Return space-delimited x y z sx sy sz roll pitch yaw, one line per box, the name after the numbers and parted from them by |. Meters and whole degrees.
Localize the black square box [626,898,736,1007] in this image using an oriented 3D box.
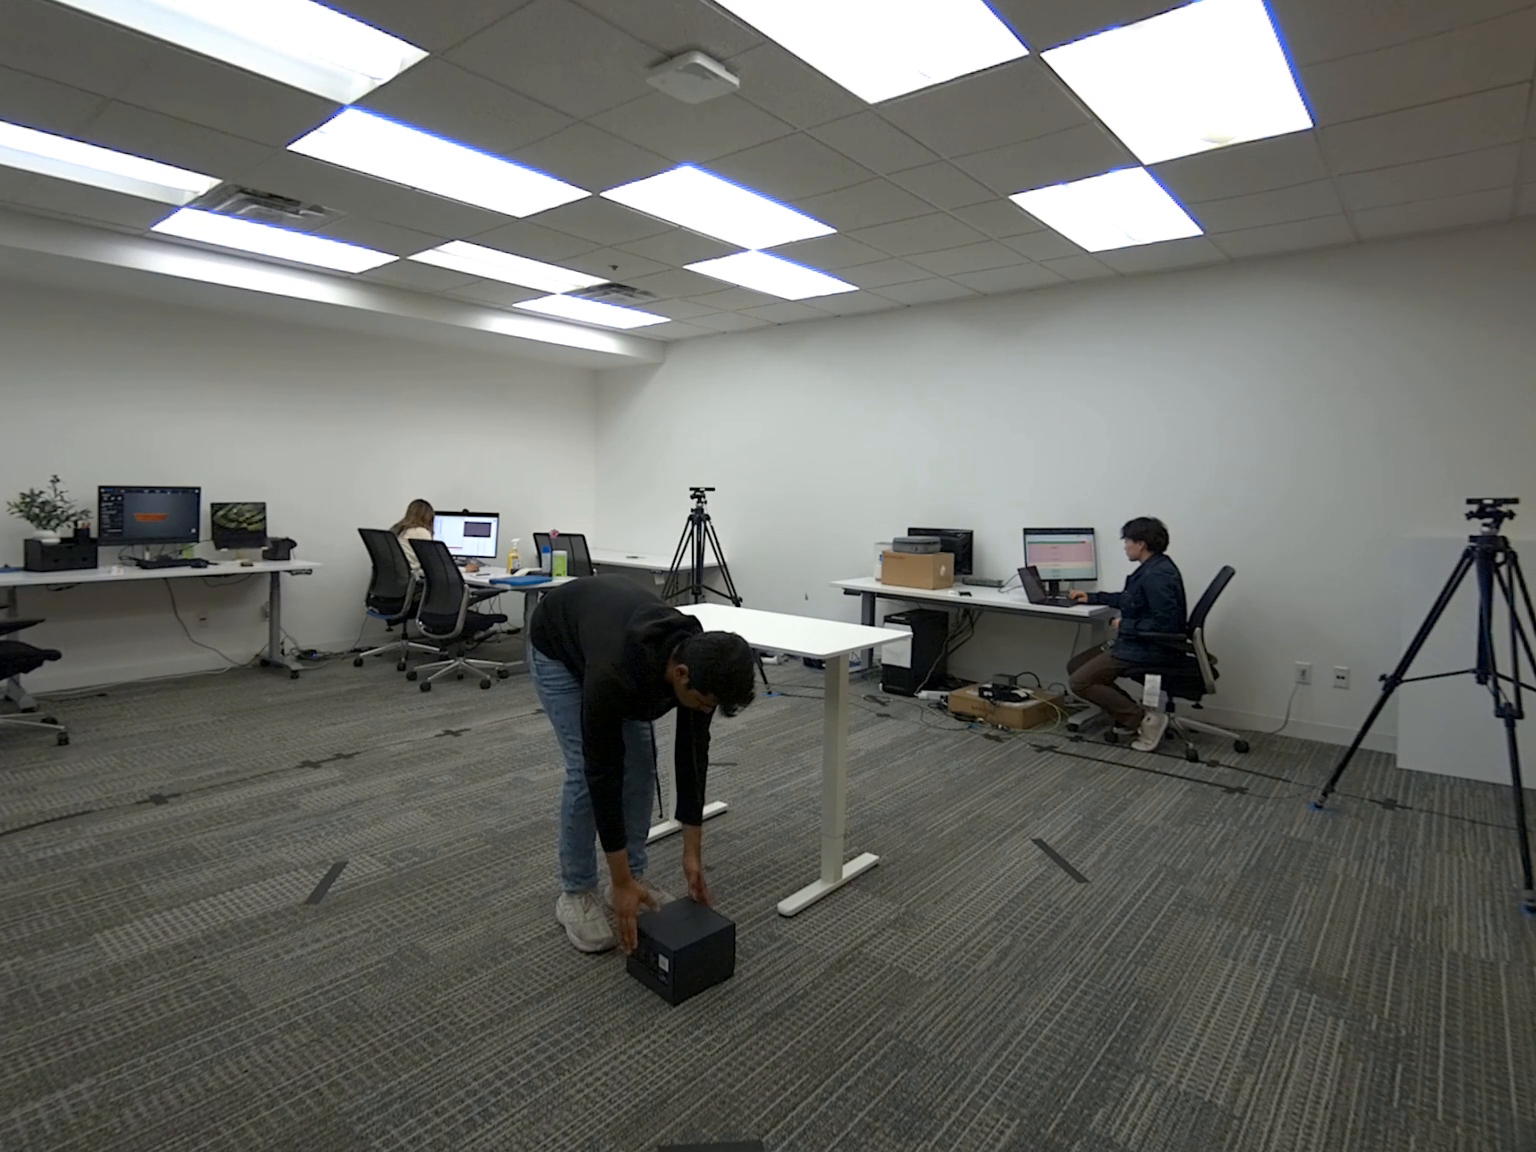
-0.257 1.046 2.416 0.221 0.155 0.224 -4 8 -45 | black square box
